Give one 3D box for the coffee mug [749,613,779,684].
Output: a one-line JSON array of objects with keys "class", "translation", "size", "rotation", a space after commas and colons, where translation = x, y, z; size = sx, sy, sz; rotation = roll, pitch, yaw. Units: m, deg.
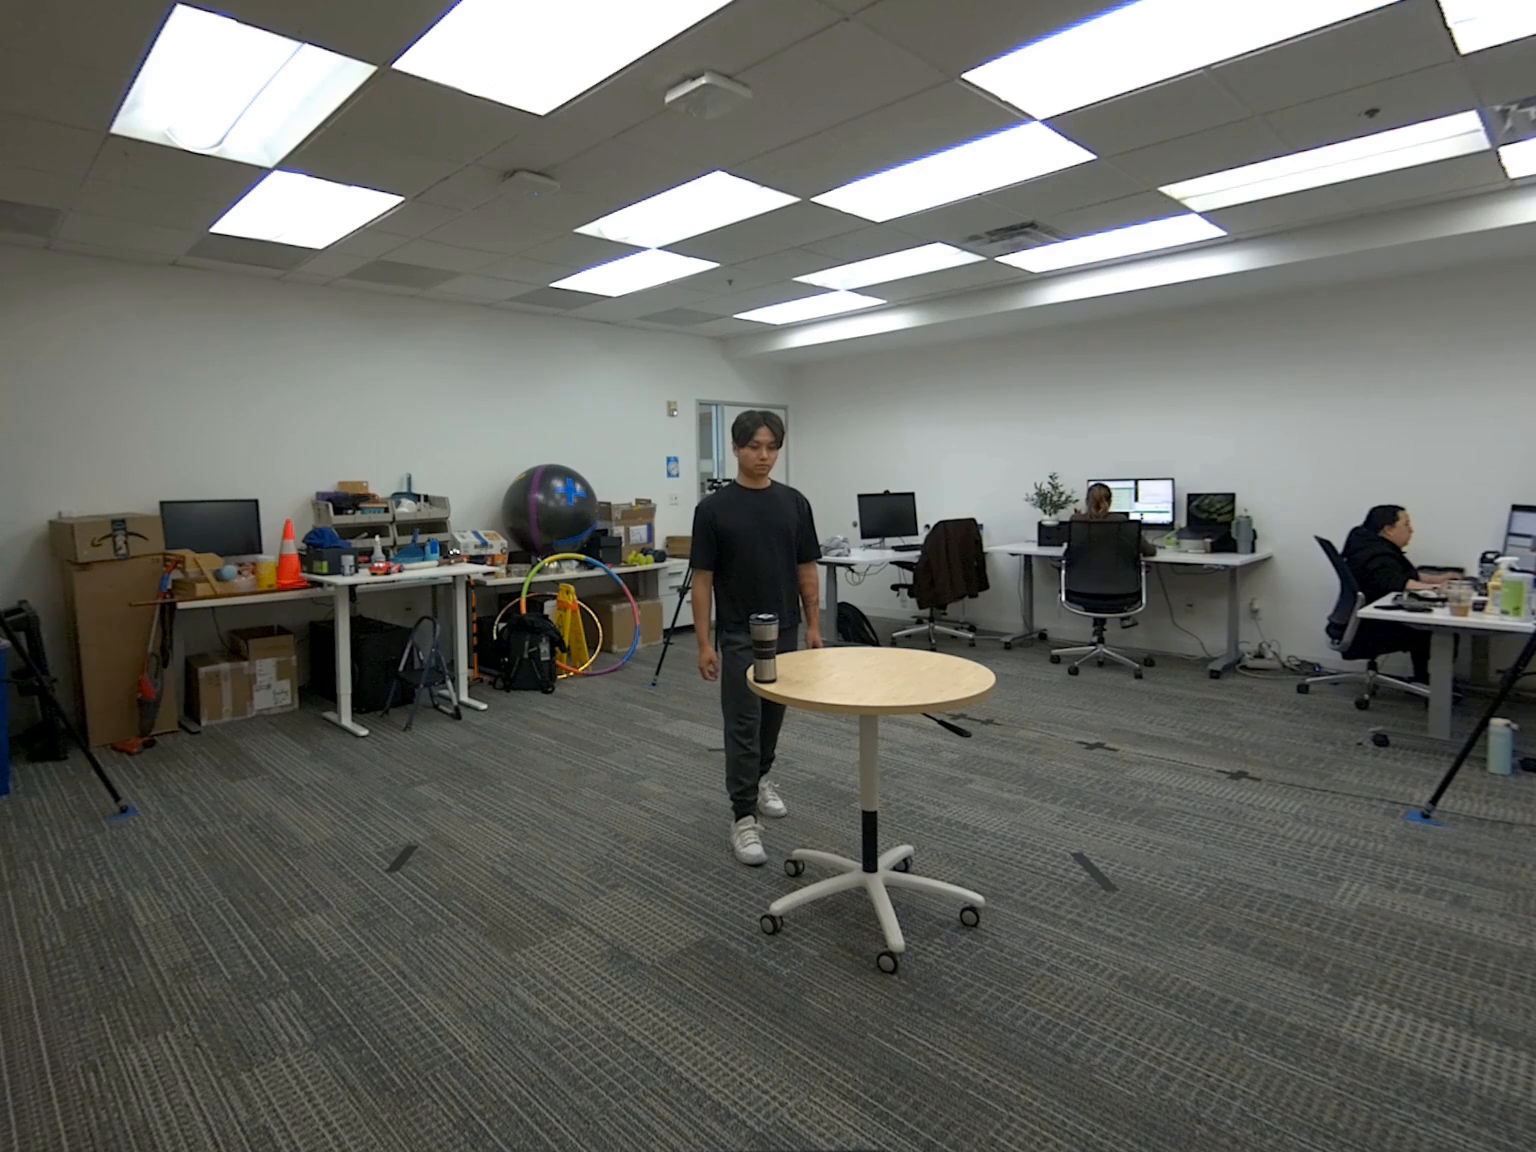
[{"class": "coffee mug", "translation": [0.003, 0.221, 2.610], "size": [0.090, 0.202, 0.119], "rotation": [-2, 6, 42]}]
